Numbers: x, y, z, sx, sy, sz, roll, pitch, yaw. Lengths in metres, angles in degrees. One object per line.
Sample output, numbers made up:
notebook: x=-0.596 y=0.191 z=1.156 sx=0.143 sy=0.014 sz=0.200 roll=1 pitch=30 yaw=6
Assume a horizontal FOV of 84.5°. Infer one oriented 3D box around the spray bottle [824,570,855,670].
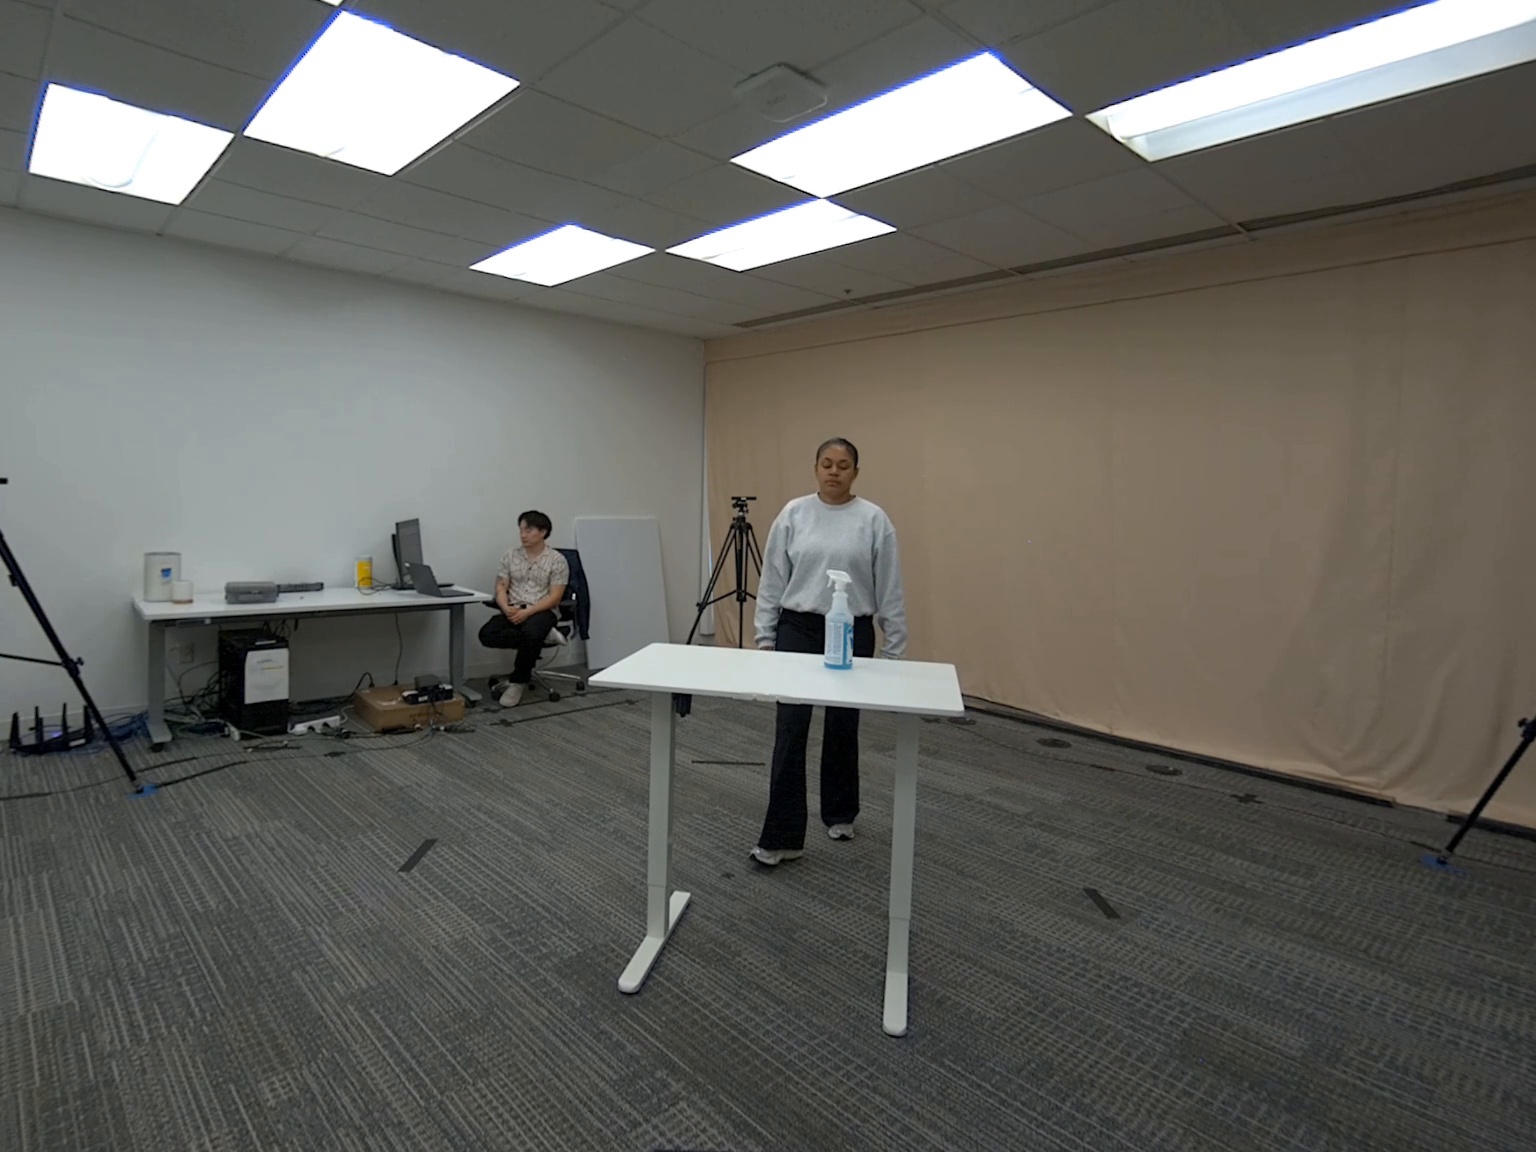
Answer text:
spray bottle: x=0.211 y=0.136 z=2.578 sx=0.086 sy=0.297 sz=0.091 roll=0 pitch=3 yaw=-20
